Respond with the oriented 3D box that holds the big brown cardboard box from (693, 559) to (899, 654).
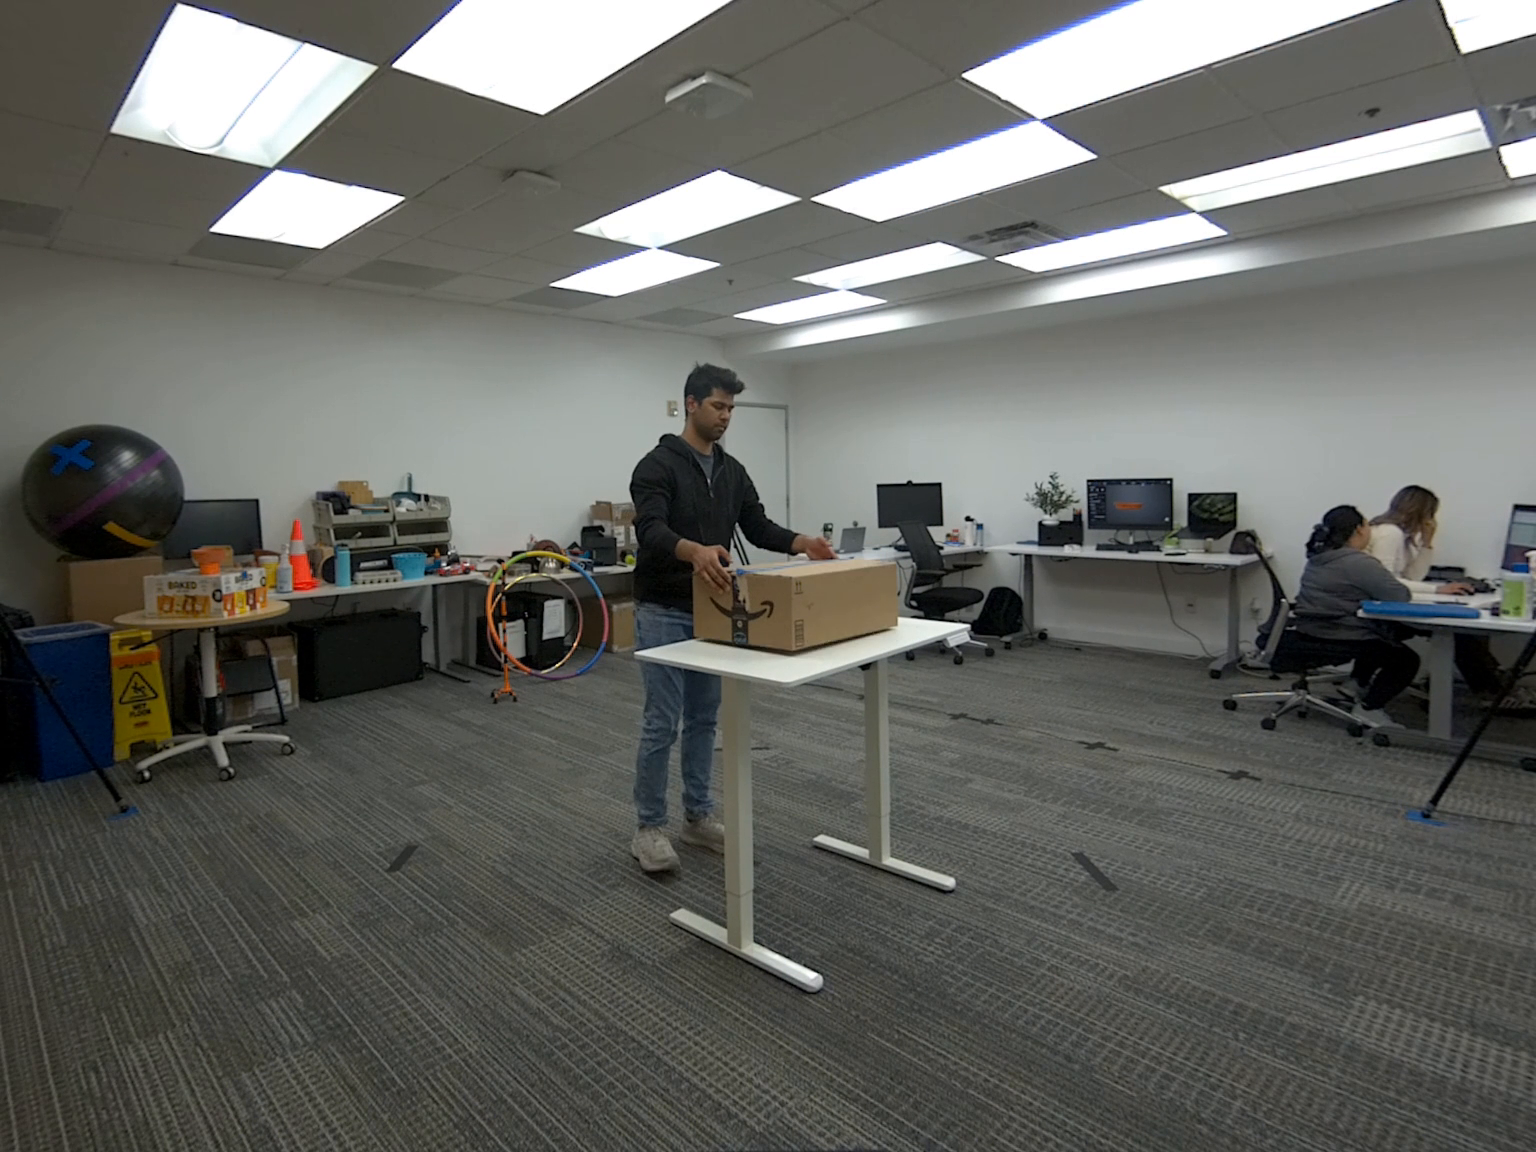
[{"bbox_3d":[0.088,0.070,2.812,0.430,0.232,0.574,2,7,43],"label":"big brown cardboard box"}]
